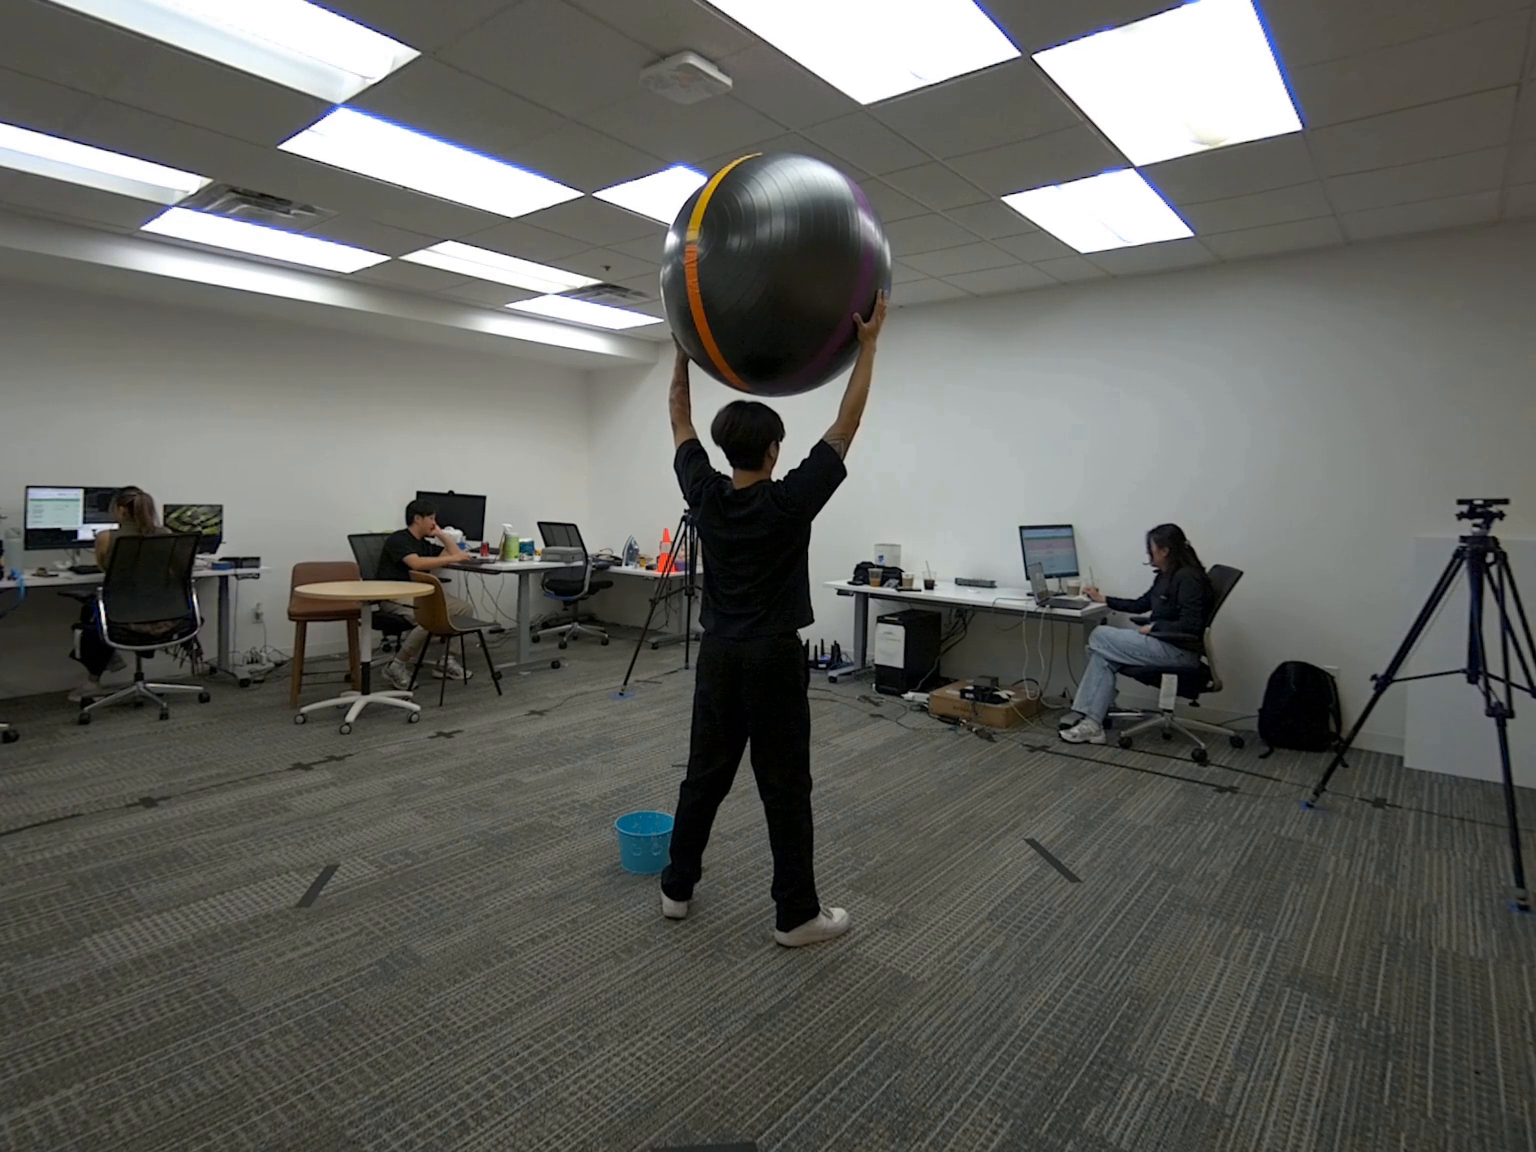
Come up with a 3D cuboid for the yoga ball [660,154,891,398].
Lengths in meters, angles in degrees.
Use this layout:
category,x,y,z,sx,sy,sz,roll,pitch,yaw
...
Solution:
category,x,y,z,sx,sy,sz,roll,pitch,yaw
yoga ball,0.018,-0.966,2.799,0.757,0.755,0.762,1,4,-2
